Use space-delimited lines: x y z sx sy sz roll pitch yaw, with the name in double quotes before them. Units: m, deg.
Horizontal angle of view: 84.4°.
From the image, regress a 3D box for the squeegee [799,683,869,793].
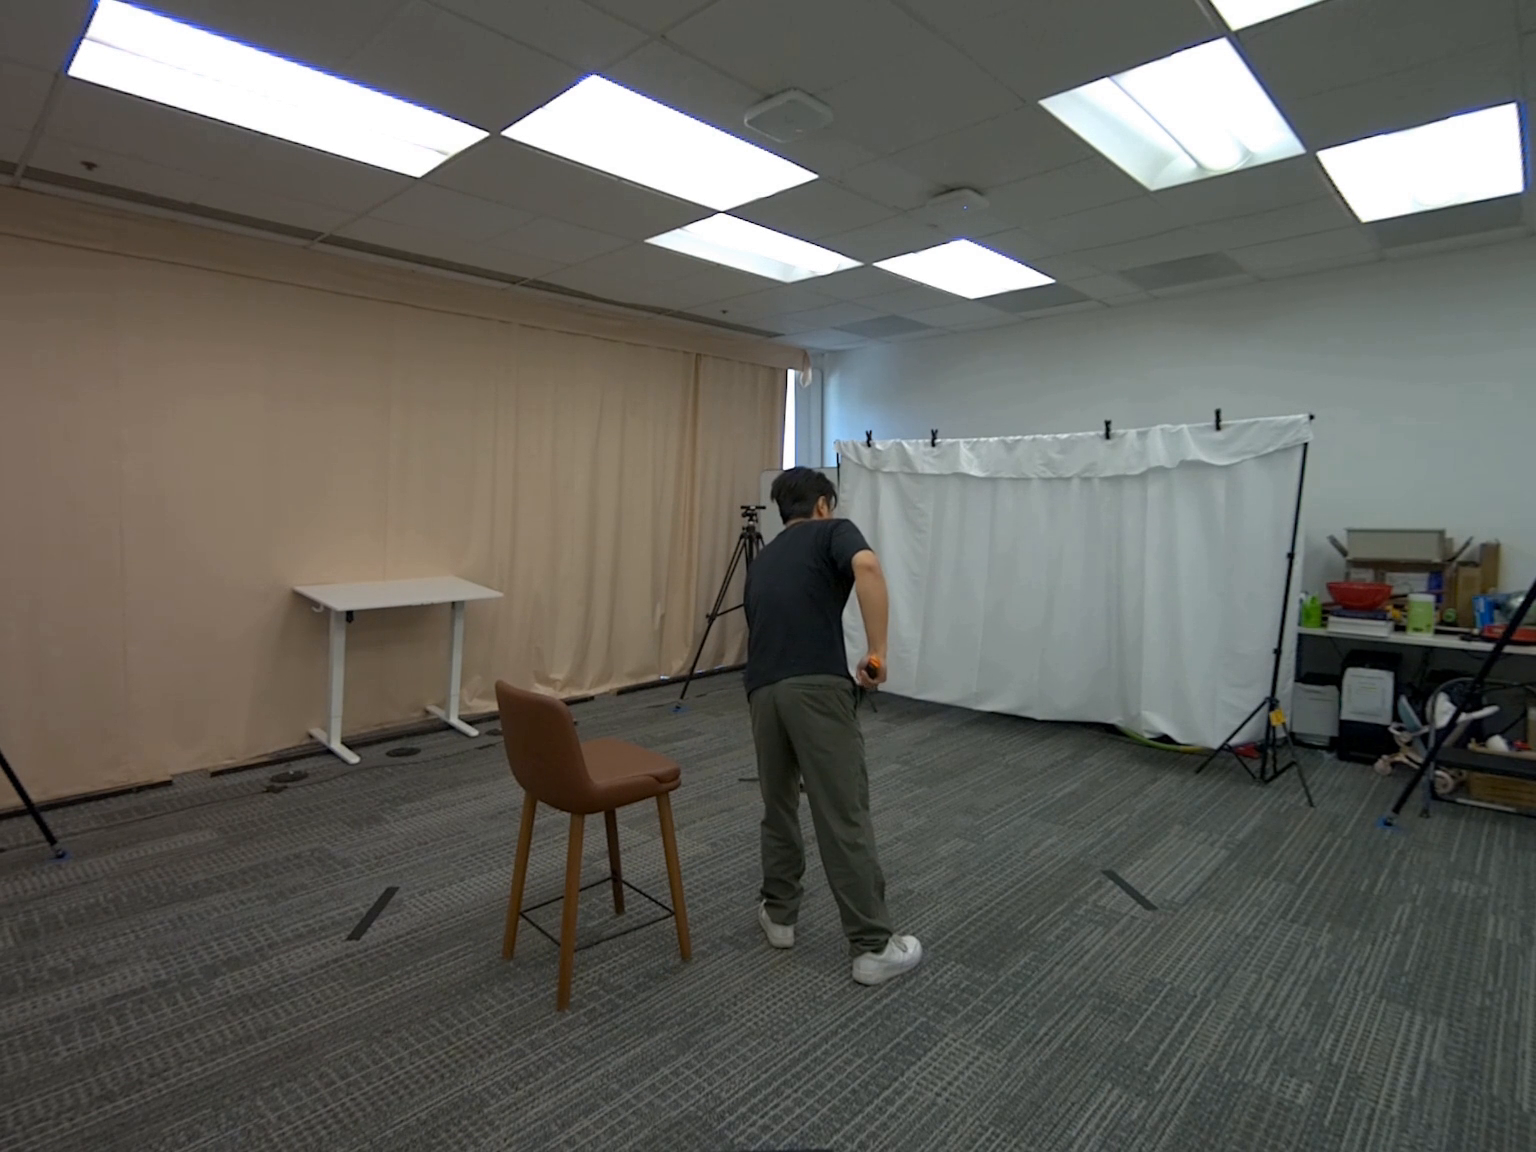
"squeegee" 0.243 0.572 2.966 0.437 0.054 1.516 0 -26 -3
